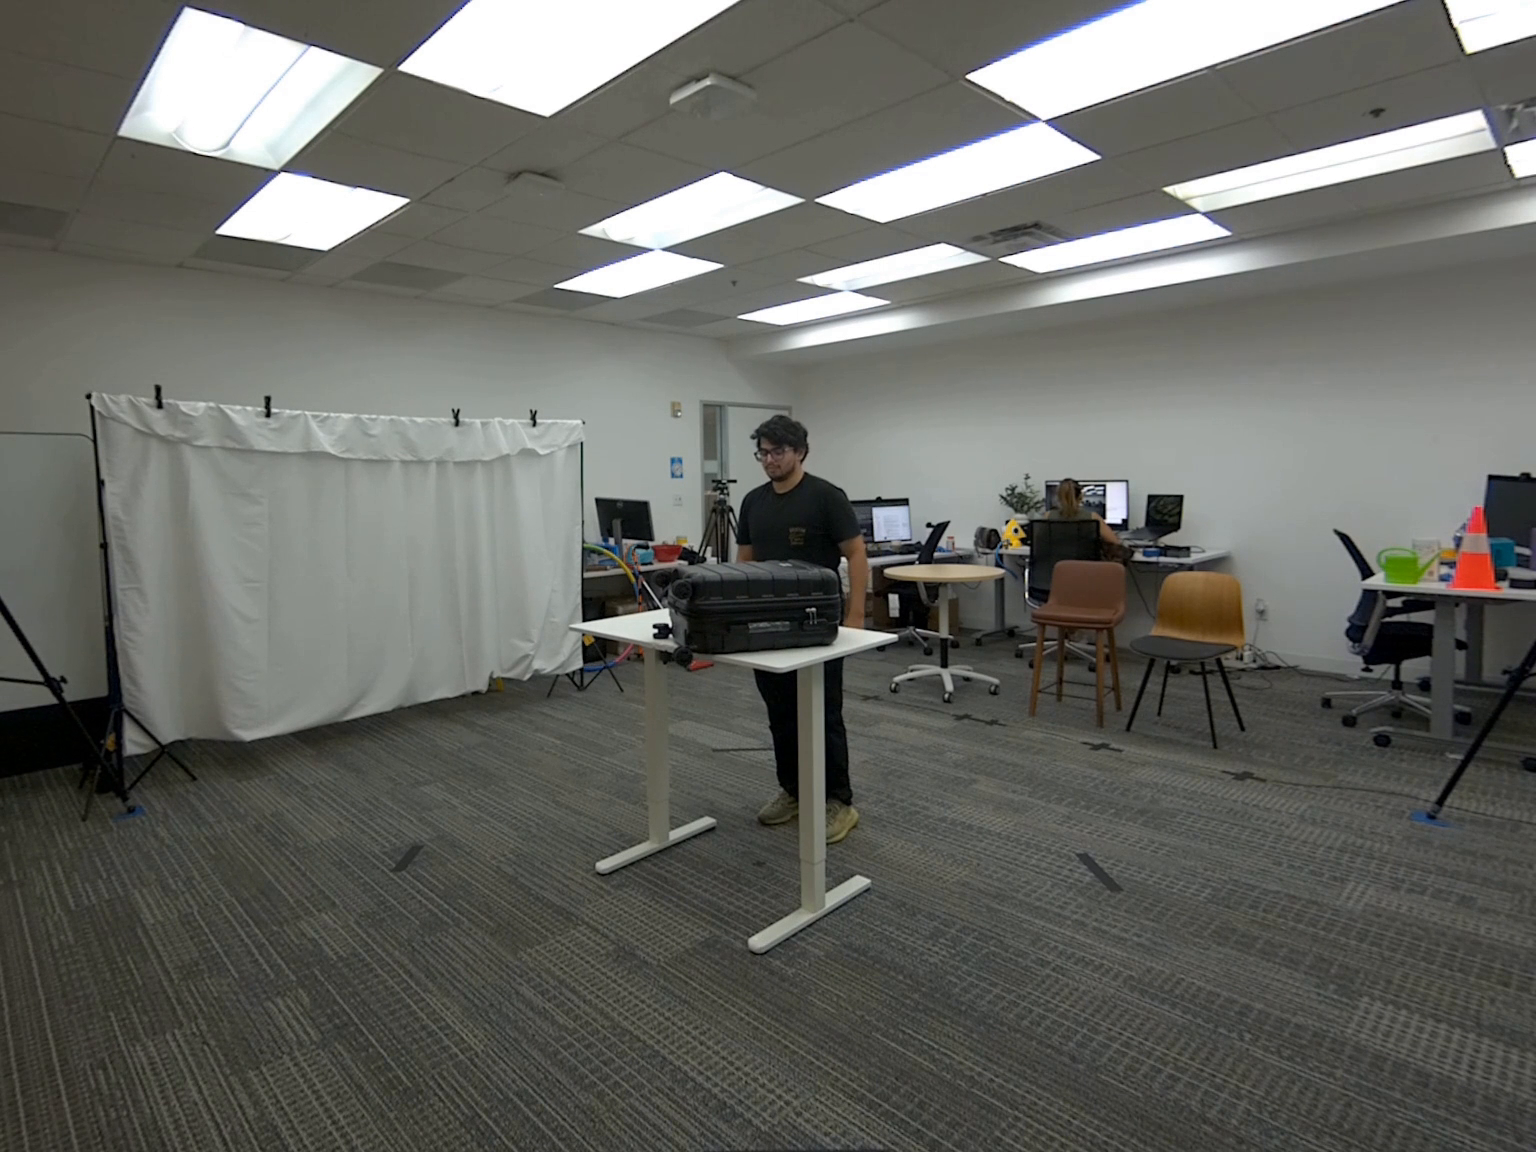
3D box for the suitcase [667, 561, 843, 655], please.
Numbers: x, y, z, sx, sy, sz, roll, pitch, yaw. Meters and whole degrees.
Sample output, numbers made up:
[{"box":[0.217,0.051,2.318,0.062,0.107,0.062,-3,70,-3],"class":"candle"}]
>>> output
[{"box":[-0.065,0.096,2.720,0.541,0.247,0.383,-3,7,-17],"class":"suitcase"}]
